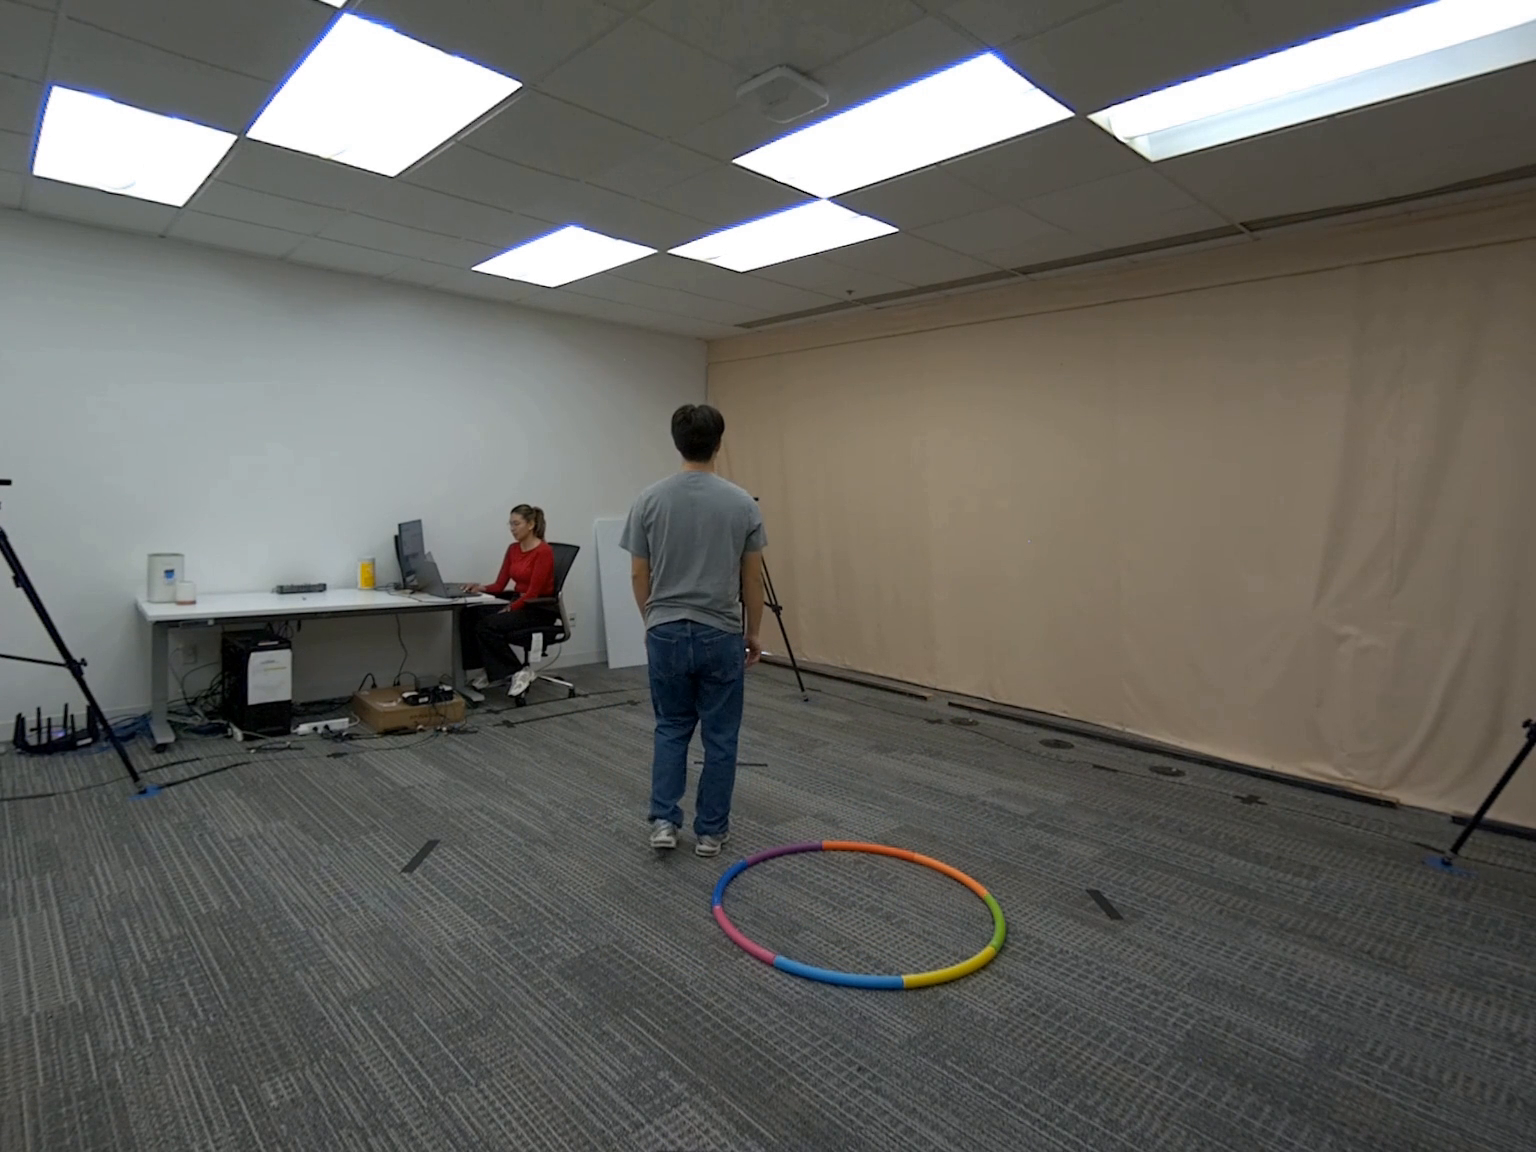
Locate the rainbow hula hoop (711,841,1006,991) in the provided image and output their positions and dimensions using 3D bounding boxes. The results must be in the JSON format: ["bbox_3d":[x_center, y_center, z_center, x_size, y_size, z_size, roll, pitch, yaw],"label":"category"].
[{"bbox_3d":[0.283,1.103,2.889,0.978,0.035,0.982,1,5,-1],"label":"rainbow hula hoop"}]
